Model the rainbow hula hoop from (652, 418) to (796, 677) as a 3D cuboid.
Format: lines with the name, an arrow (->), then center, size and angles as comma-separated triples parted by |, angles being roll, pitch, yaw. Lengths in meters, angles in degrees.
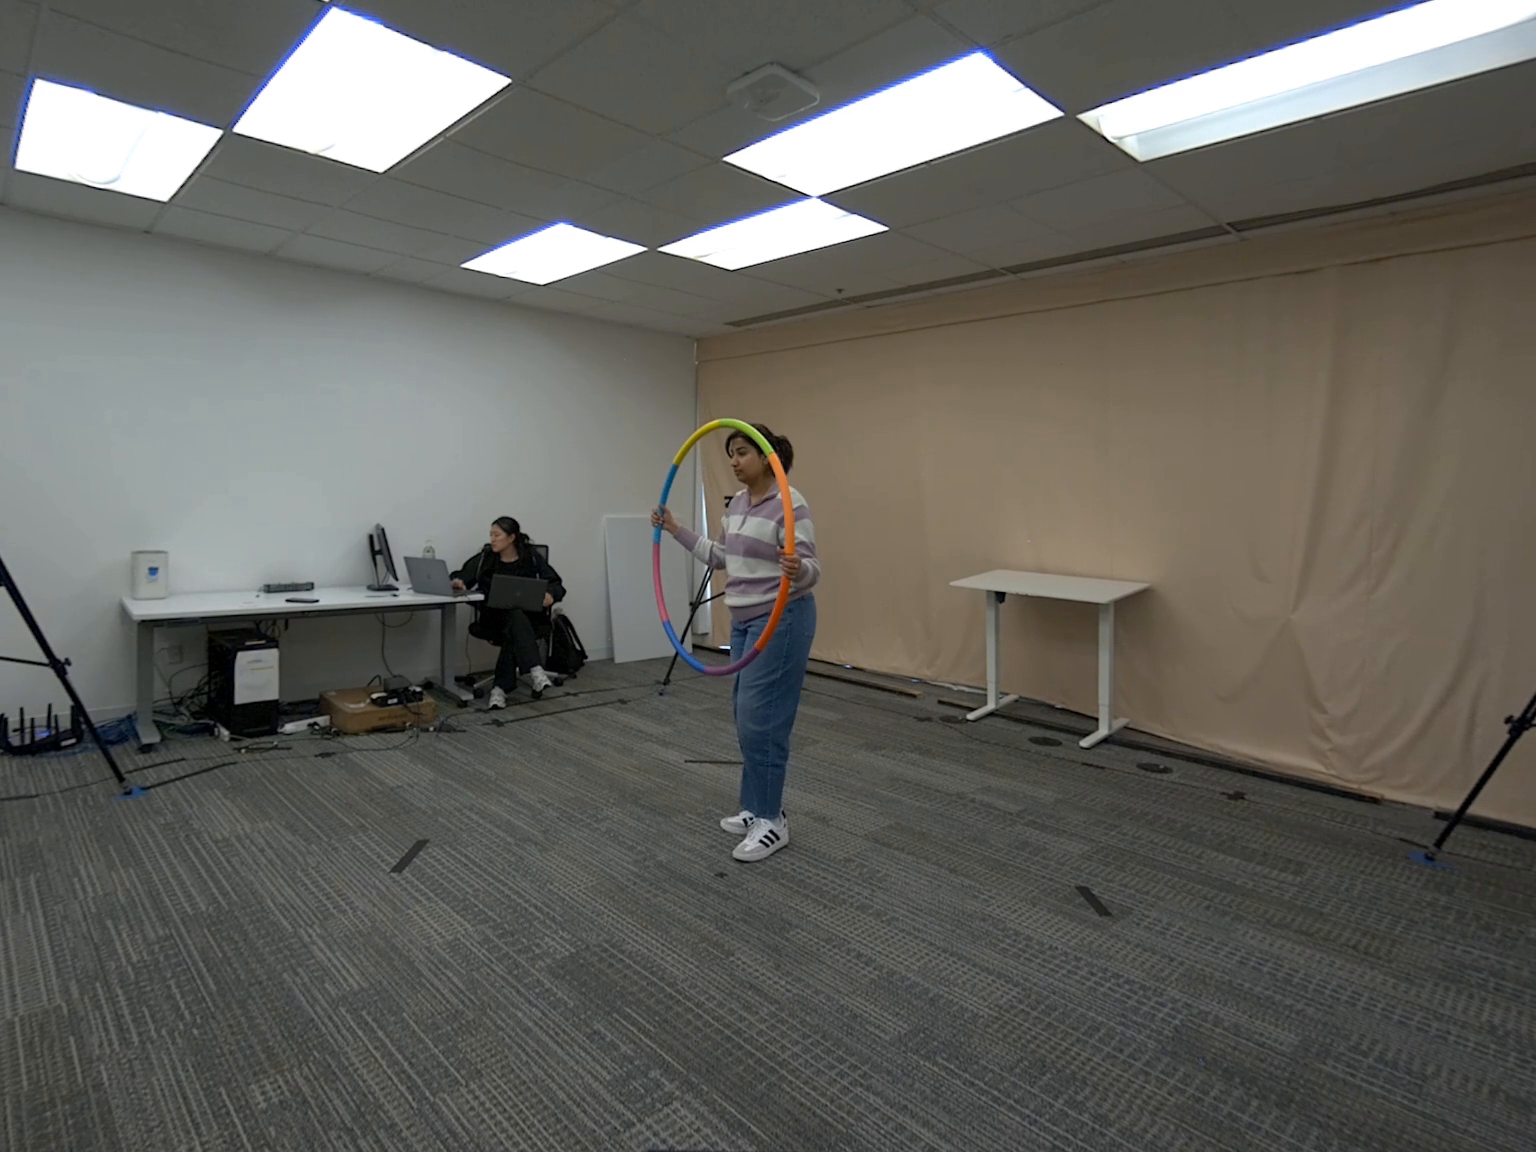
rainbow hula hoop -> -0.203, -0.112, 3.257 | 0.035, 0.977, 1.002 | 4, 2, -35
